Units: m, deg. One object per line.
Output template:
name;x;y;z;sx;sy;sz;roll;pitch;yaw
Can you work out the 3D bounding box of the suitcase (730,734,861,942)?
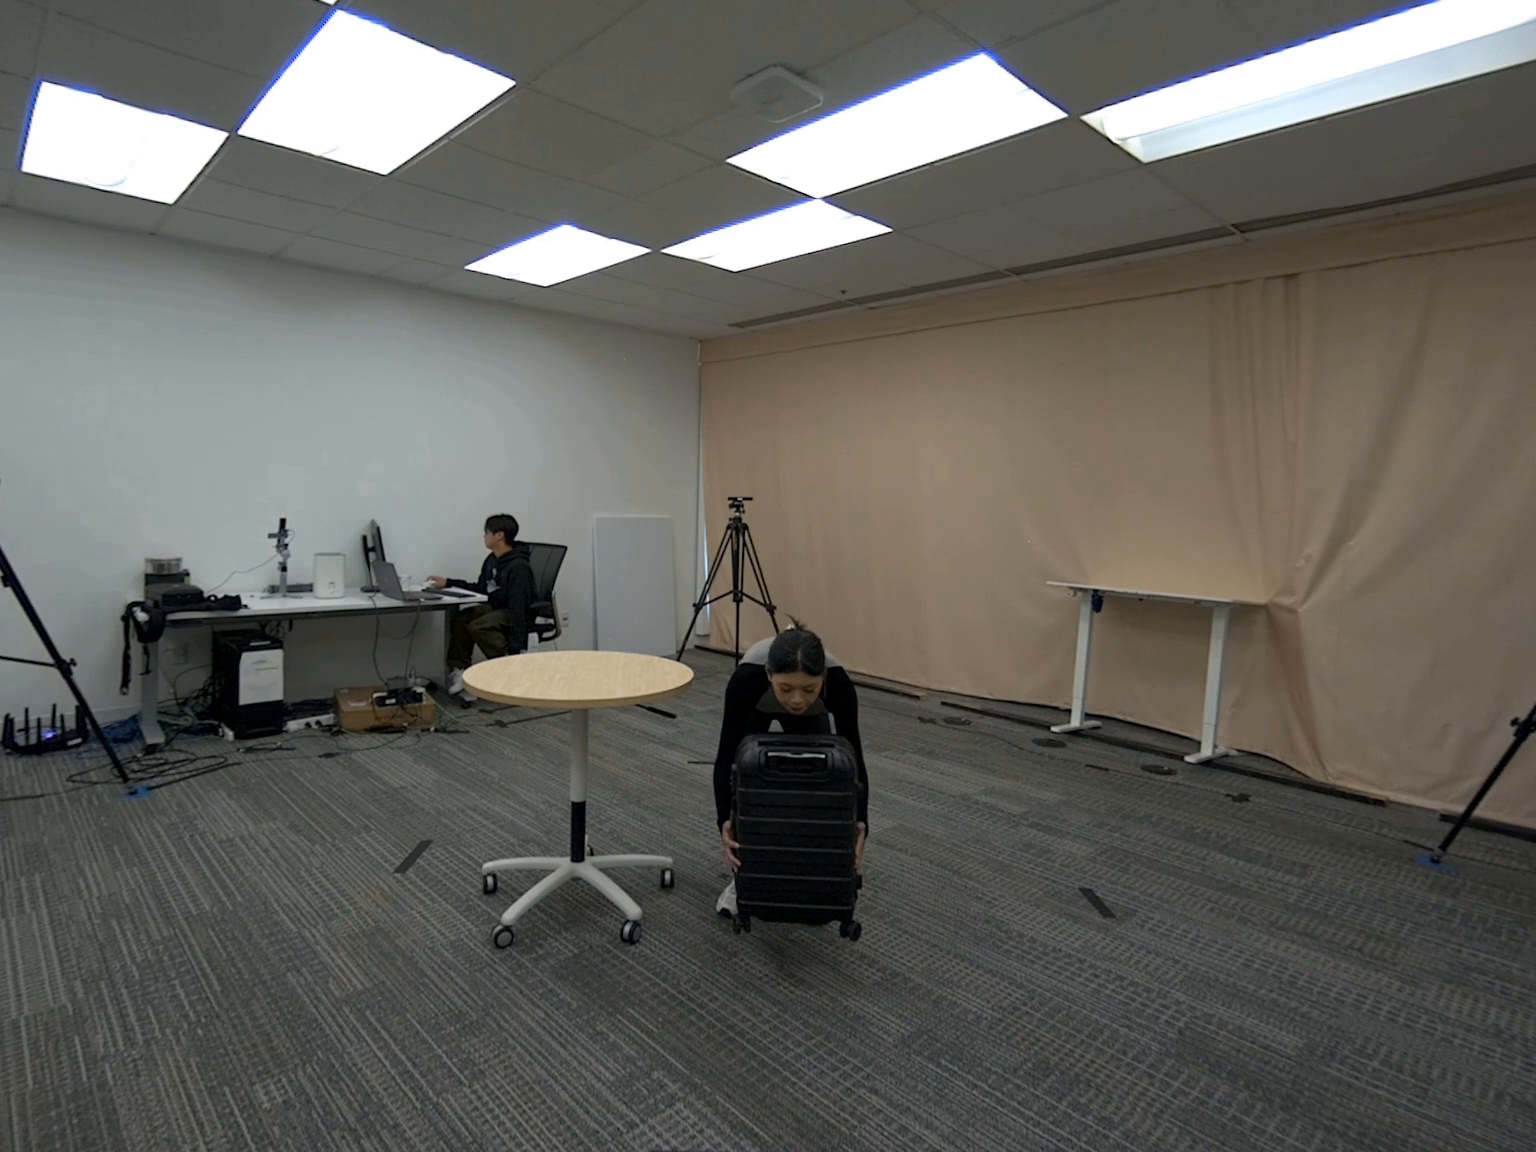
suitcase;0.071;0.737;2.447;0.377;0.547;0.248;0;4;5
